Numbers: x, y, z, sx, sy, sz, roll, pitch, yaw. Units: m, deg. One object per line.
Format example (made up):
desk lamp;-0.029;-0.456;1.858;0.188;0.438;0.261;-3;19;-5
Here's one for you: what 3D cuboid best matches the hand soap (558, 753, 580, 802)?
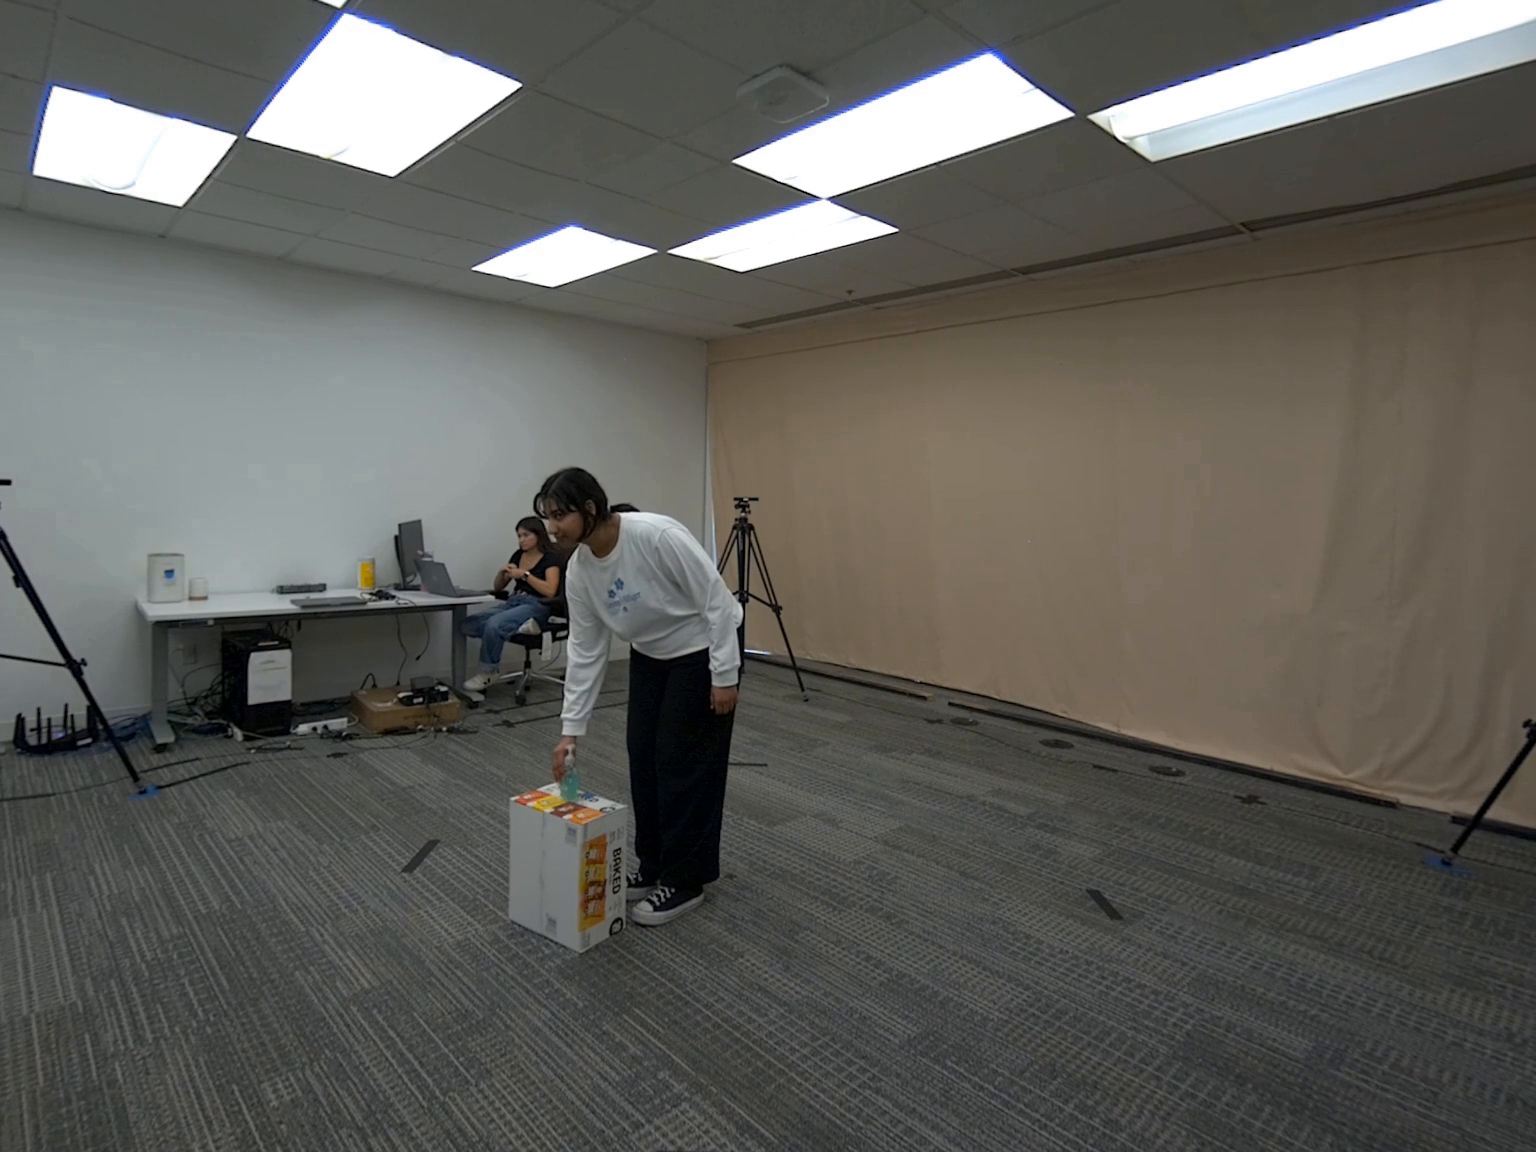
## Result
hand soap;-0.641;0.625;2.722;0.087;0.168;0.042;7;4;44
